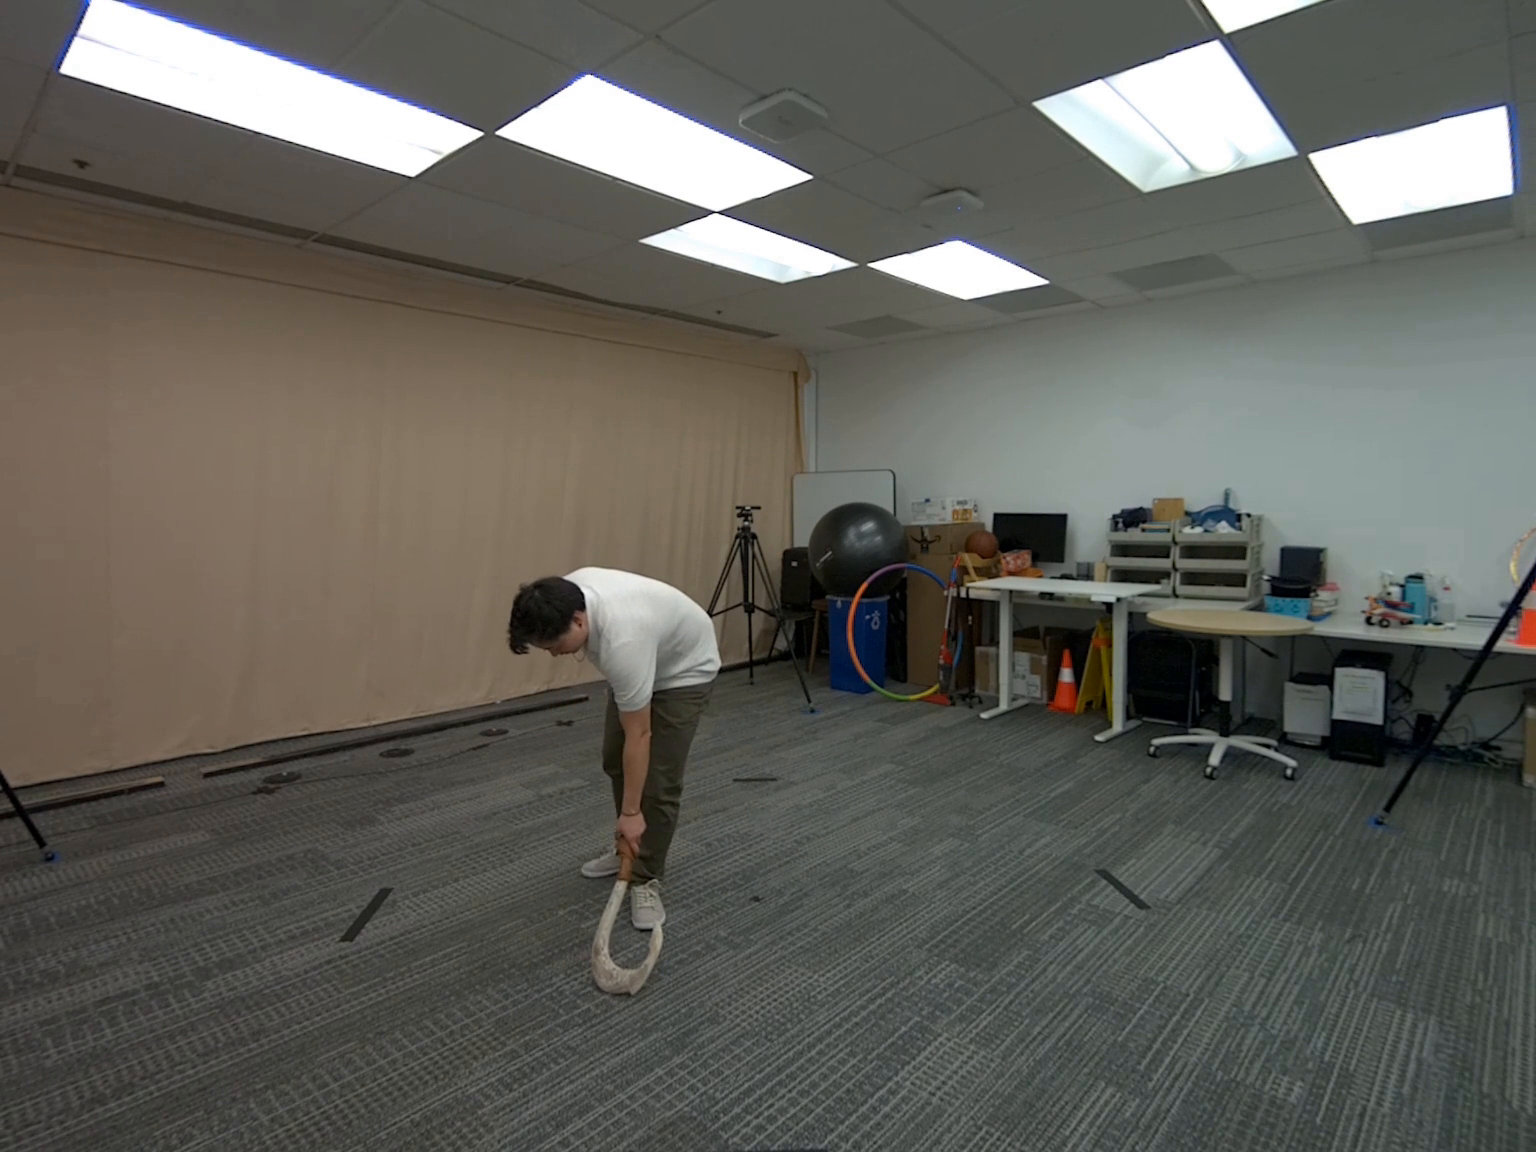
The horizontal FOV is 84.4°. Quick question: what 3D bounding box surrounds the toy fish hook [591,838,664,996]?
[{"bbox_3d":[-0.398,0.975,2.543,0.228,0.514,0.047,-6,-36,16],"label":"toy fish hook"}]
